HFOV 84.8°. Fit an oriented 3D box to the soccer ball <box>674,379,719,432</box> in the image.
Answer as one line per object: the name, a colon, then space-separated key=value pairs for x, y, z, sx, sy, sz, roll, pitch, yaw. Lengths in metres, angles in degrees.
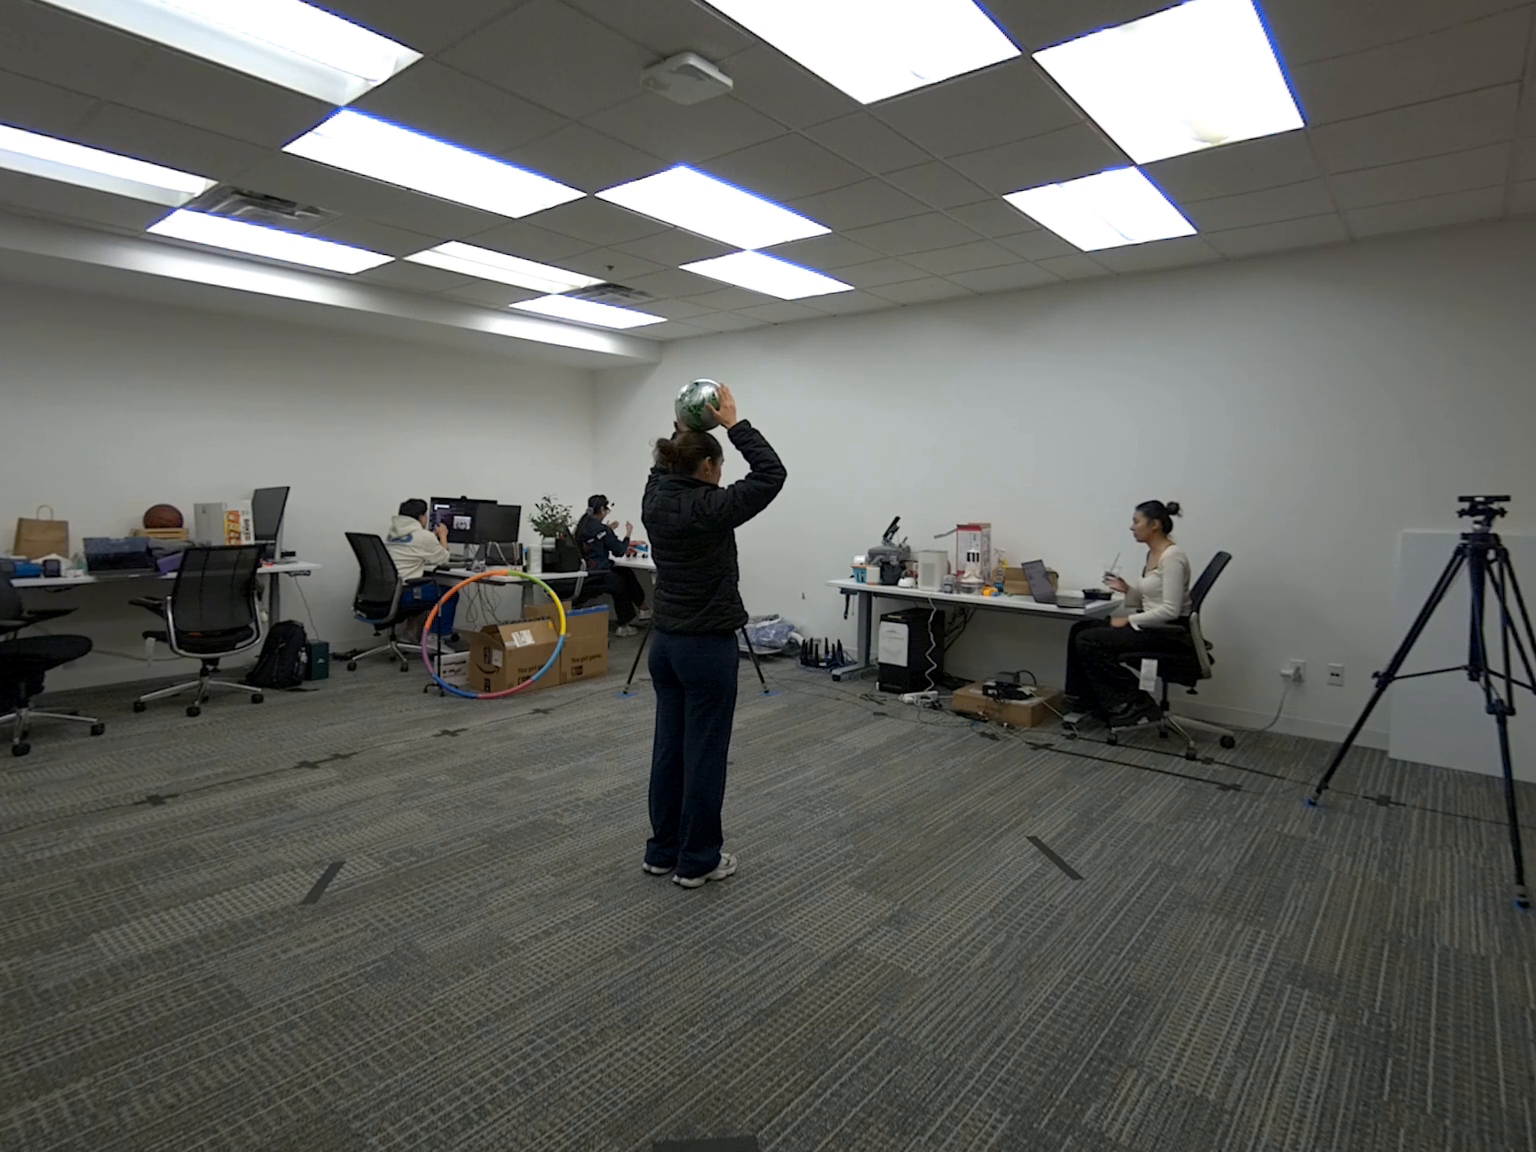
soccer ball: x=-0.241 y=-0.612 z=3.042 sx=0.187 sy=0.187 sz=0.188 roll=1 pitch=4 yaw=-2
